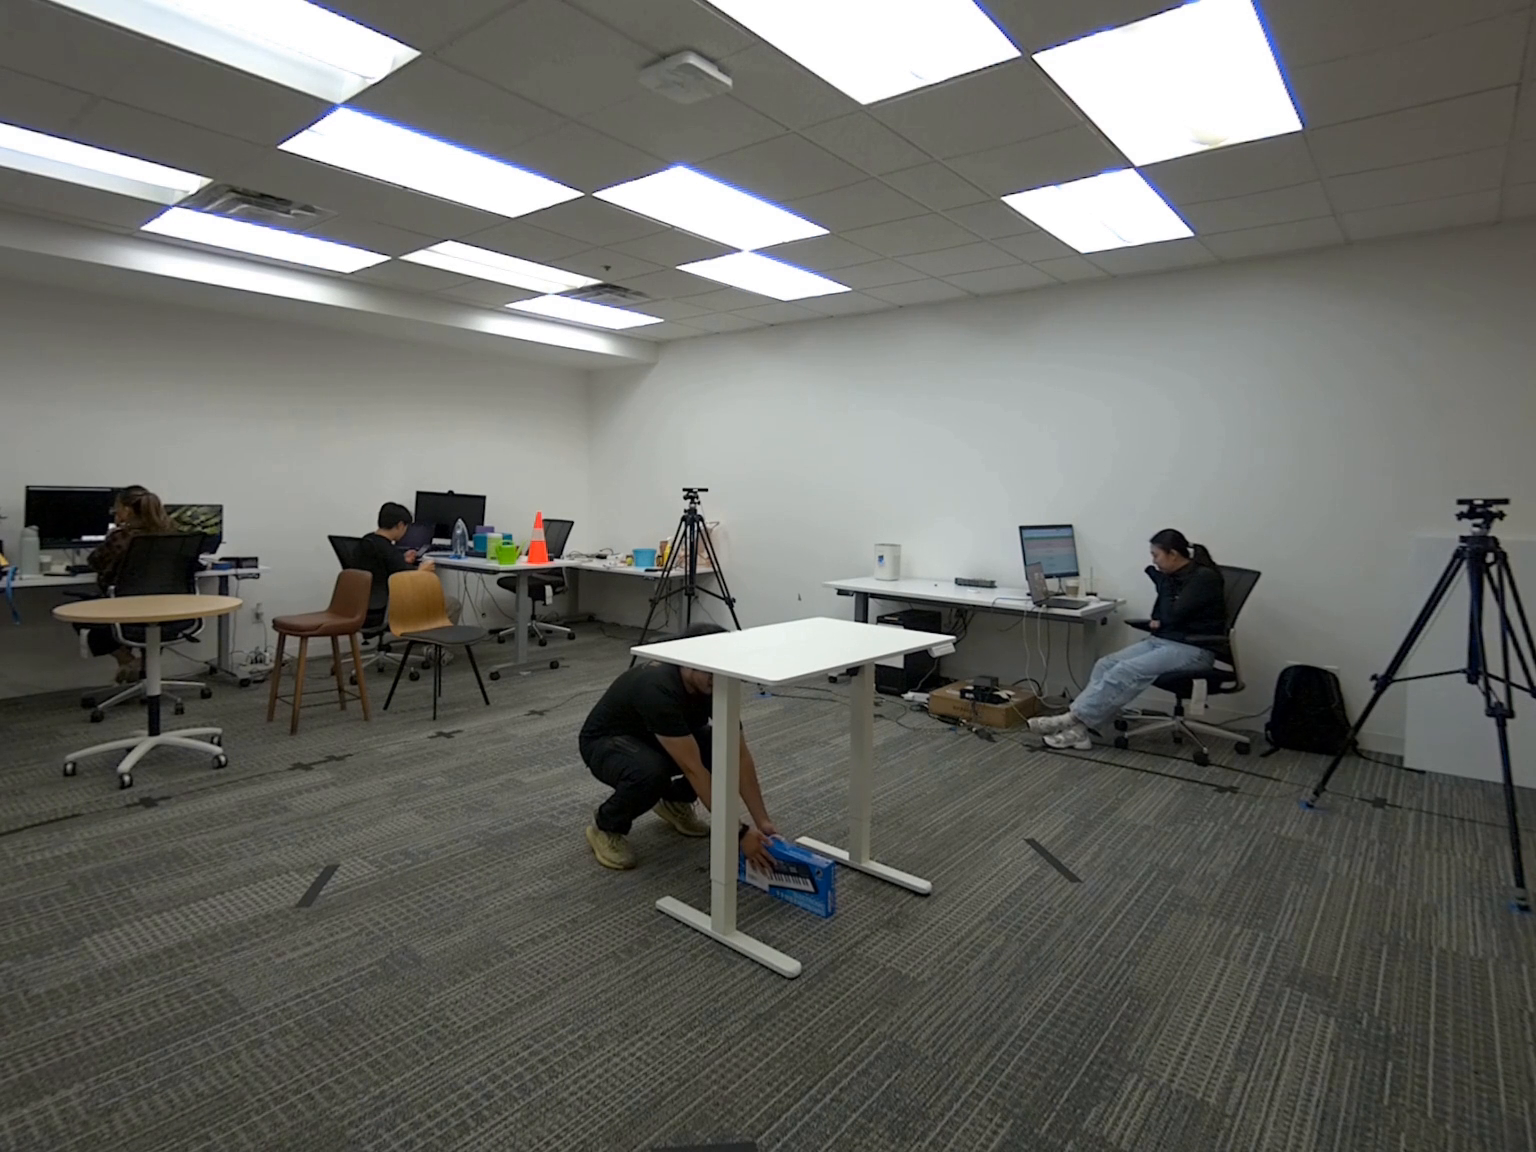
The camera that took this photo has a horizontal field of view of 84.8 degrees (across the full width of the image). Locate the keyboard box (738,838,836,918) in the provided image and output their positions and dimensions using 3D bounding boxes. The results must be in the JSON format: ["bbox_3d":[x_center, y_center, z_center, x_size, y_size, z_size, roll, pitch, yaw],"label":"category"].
[{"bbox_3d":[0.030,1.005,2.924,0.452,0.175,0.057,5,9,41],"label":"keyboard box"}]
